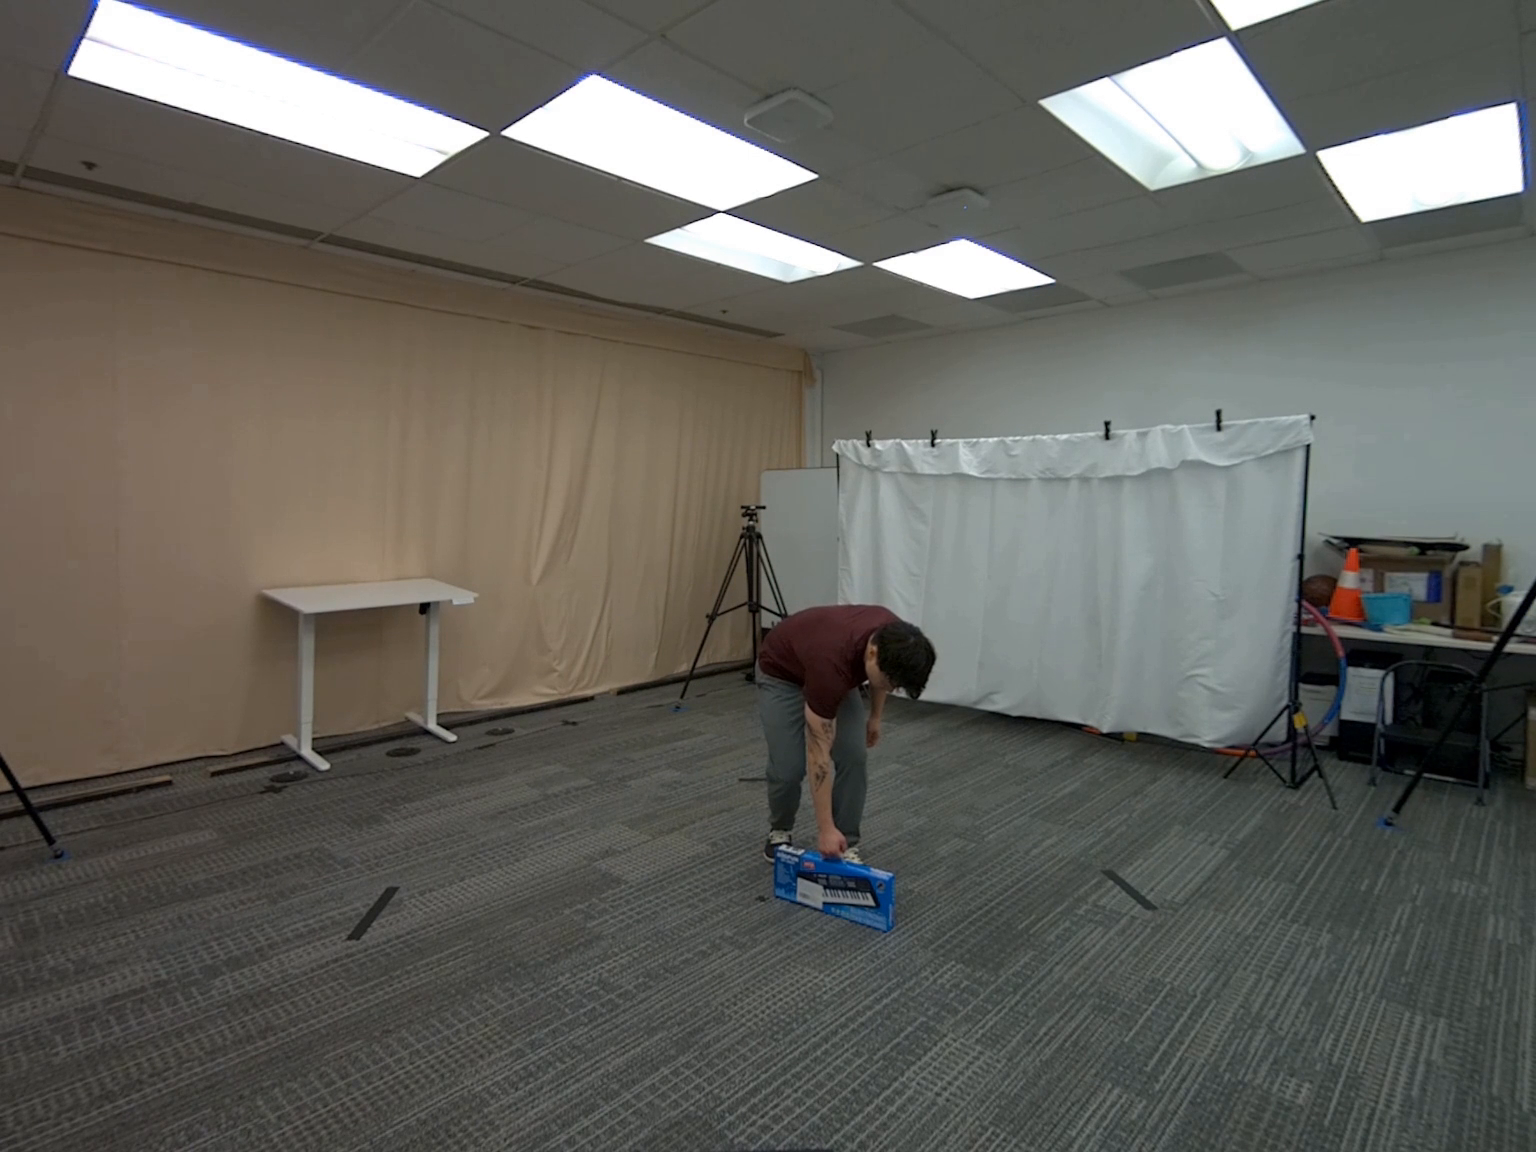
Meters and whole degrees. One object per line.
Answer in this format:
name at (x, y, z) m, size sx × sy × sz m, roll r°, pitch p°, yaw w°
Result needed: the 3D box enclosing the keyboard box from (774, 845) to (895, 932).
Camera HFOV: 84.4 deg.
keyboard box at (0.221, 1.059, 2.888) m, size 0.450 × 0.175 × 0.057 m, roll 3°, pitch 4°, yaw 34°
